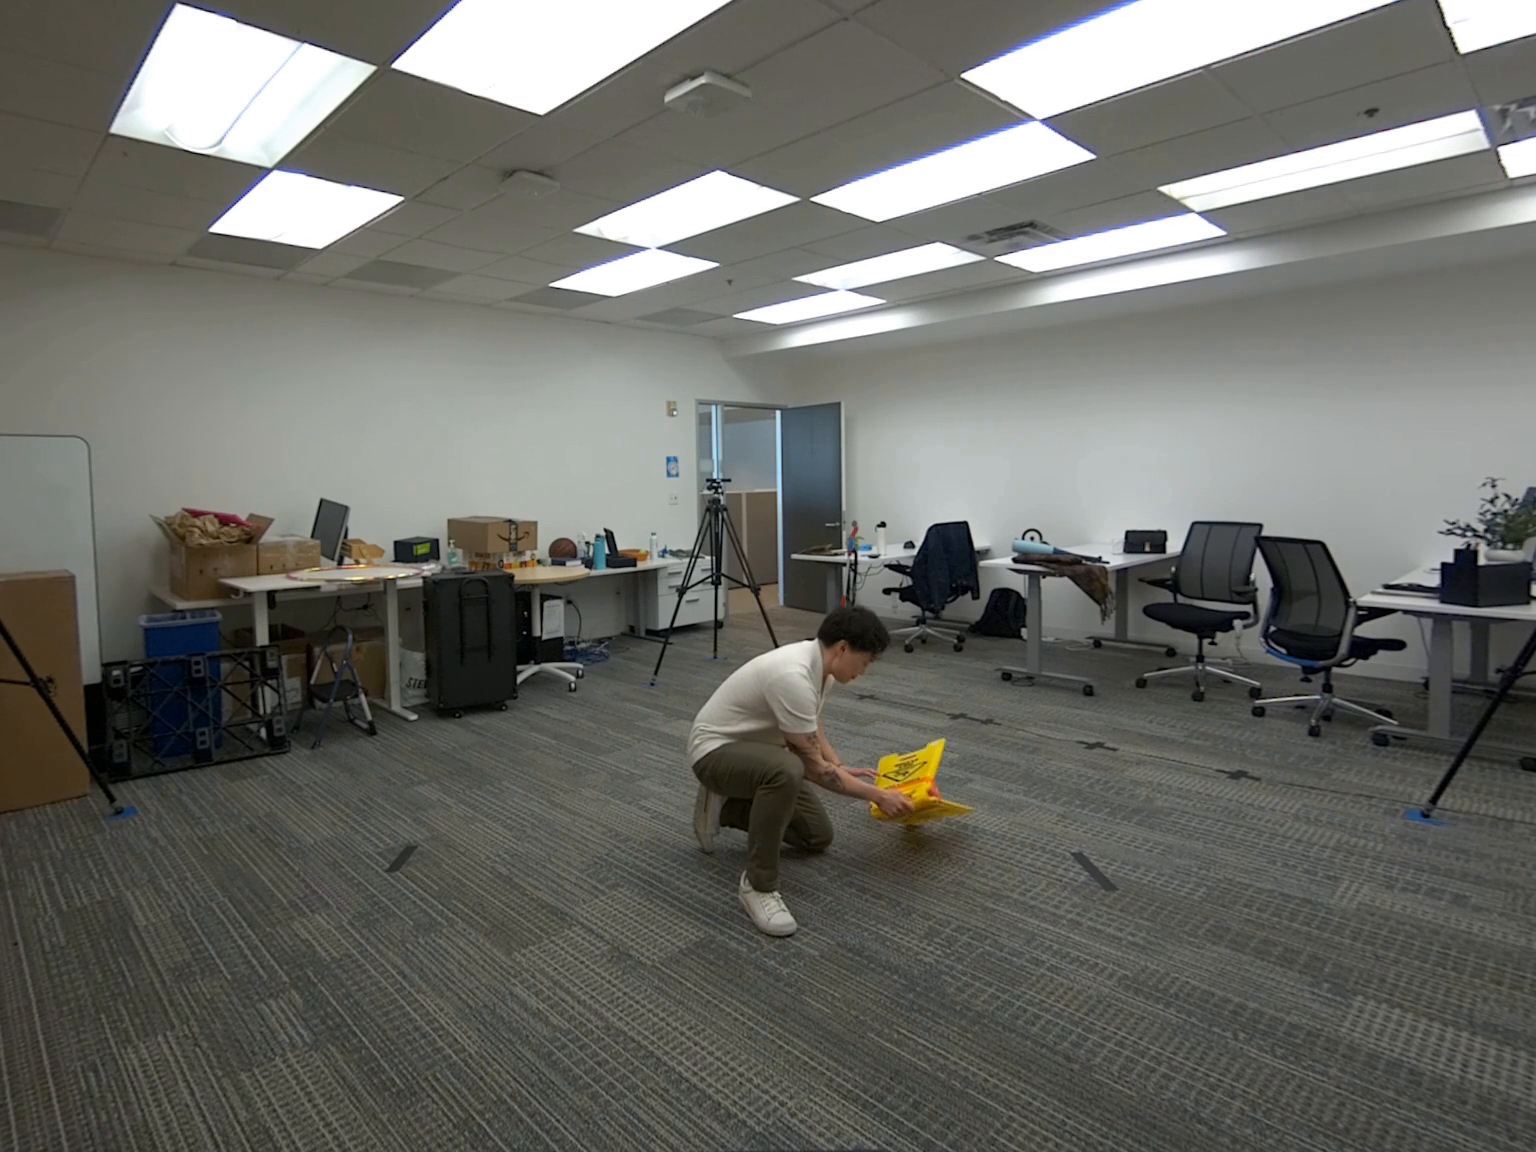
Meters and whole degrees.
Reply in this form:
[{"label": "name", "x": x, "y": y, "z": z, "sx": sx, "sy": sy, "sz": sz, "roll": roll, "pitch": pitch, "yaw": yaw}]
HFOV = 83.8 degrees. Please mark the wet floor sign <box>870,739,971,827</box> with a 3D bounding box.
[{"label": "wet floor sign", "x": 0.525, "y": 0.792, "z": 3.133, "sx": 0.285, "sy": 0.295, "sz": 0.629, "roll": -22, "pitch": -14, "yaw": 15}]
